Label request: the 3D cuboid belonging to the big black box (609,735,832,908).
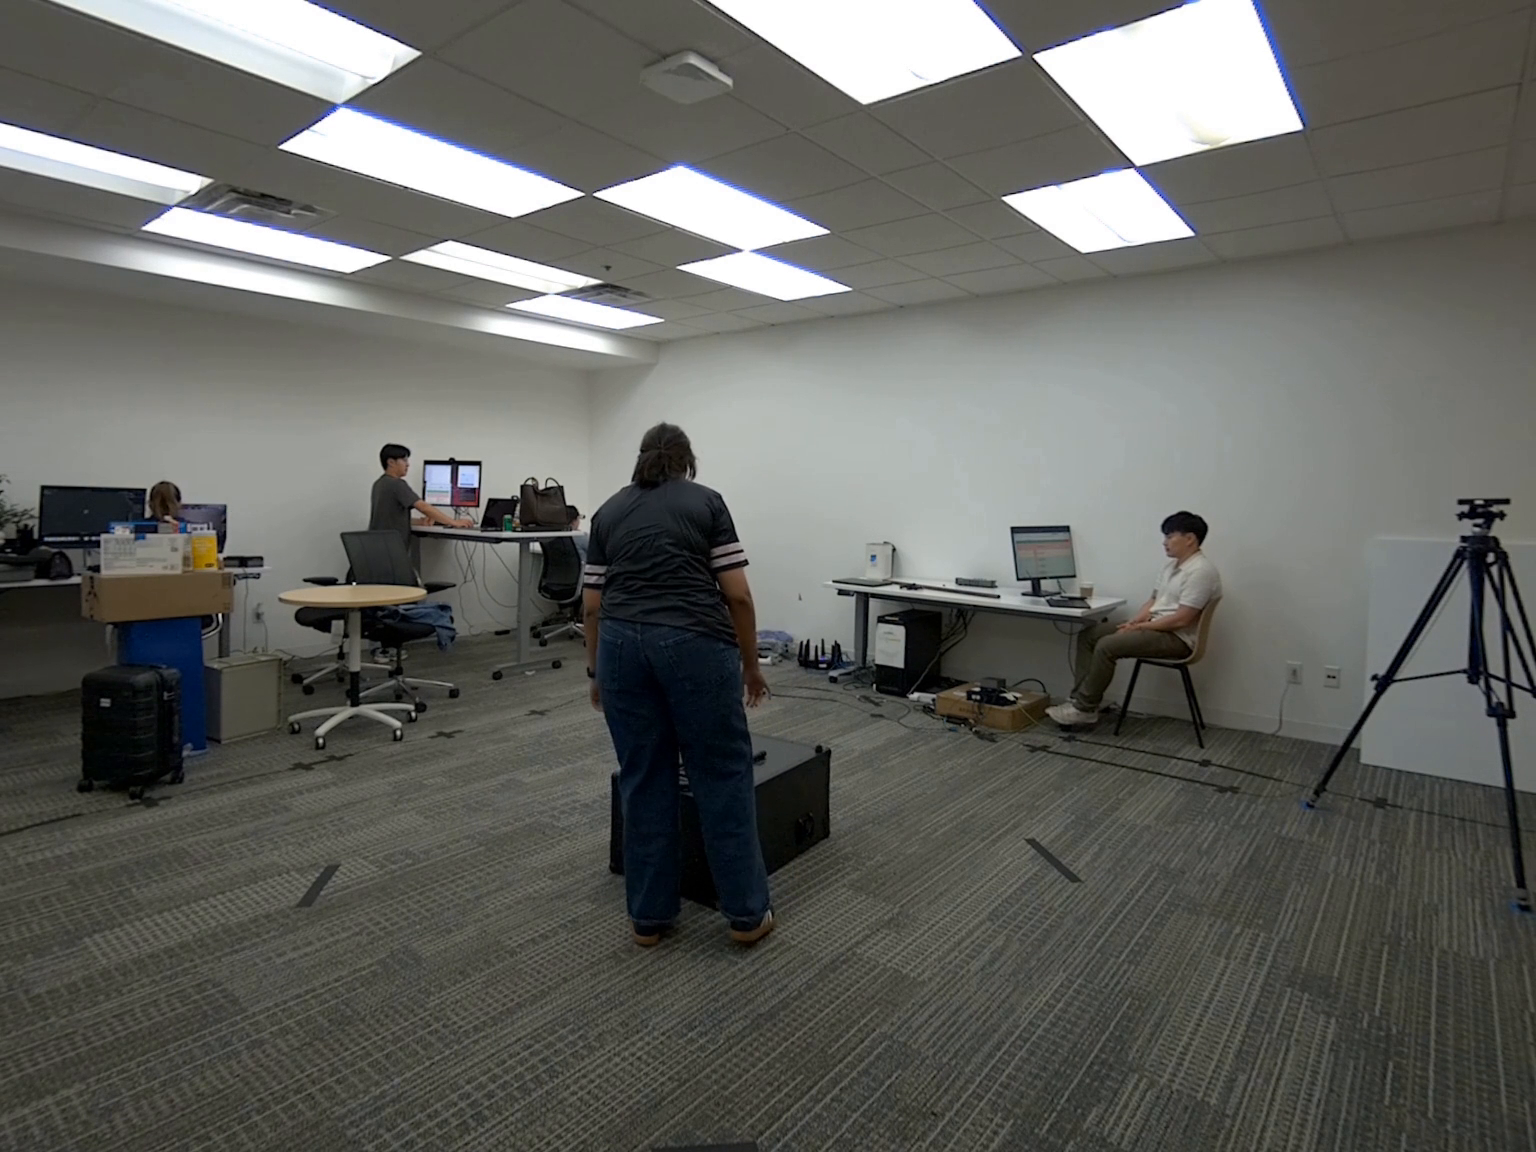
[{"bbox_3d":[-0.155,0.870,3.276,0.539,0.384,0.845,2,4,33],"label":"big black box"}]
